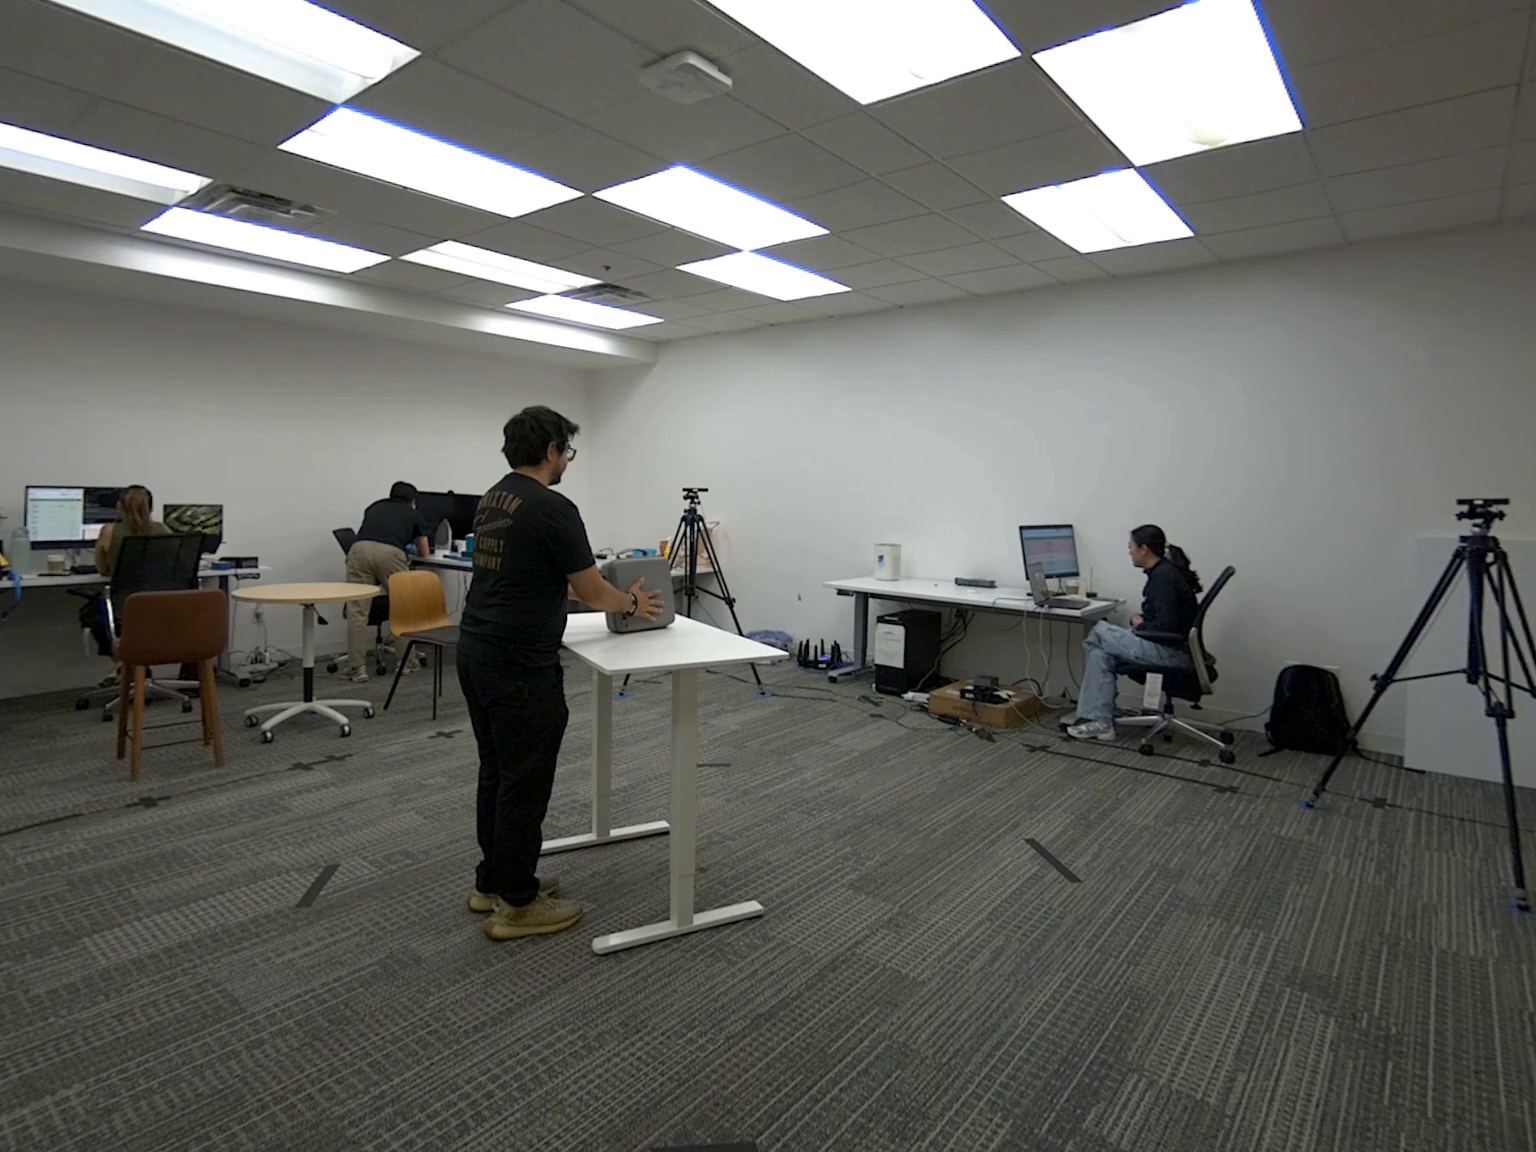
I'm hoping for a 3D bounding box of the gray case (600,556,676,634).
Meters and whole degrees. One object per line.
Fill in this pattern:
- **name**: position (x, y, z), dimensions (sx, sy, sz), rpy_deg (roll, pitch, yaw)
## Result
- **gray case**: position (-0.475, 0.057, 3.032), dimensions (0.249, 0.261, 0.107), rpy_deg (-5, -3, -41)
